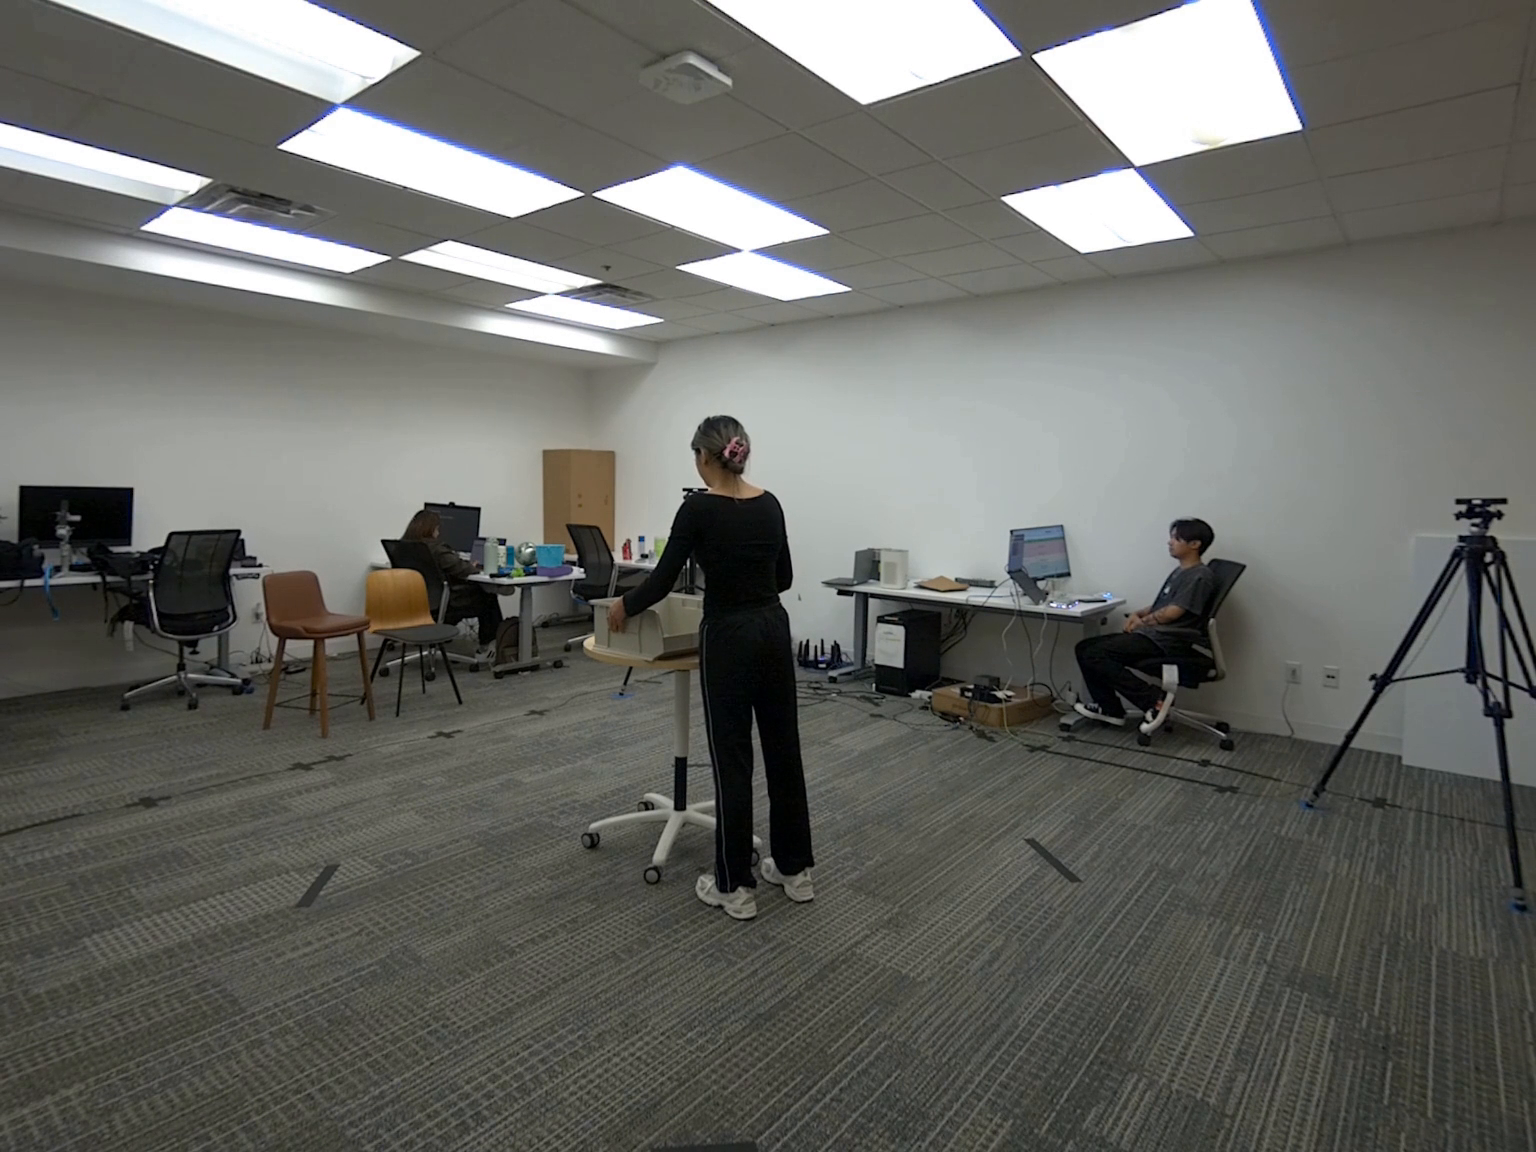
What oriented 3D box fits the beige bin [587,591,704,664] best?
[{"bbox_3d":[-0.386,0.180,3.139,0.389,0.188,0.410,2,5,40],"label":"beige bin"}]
